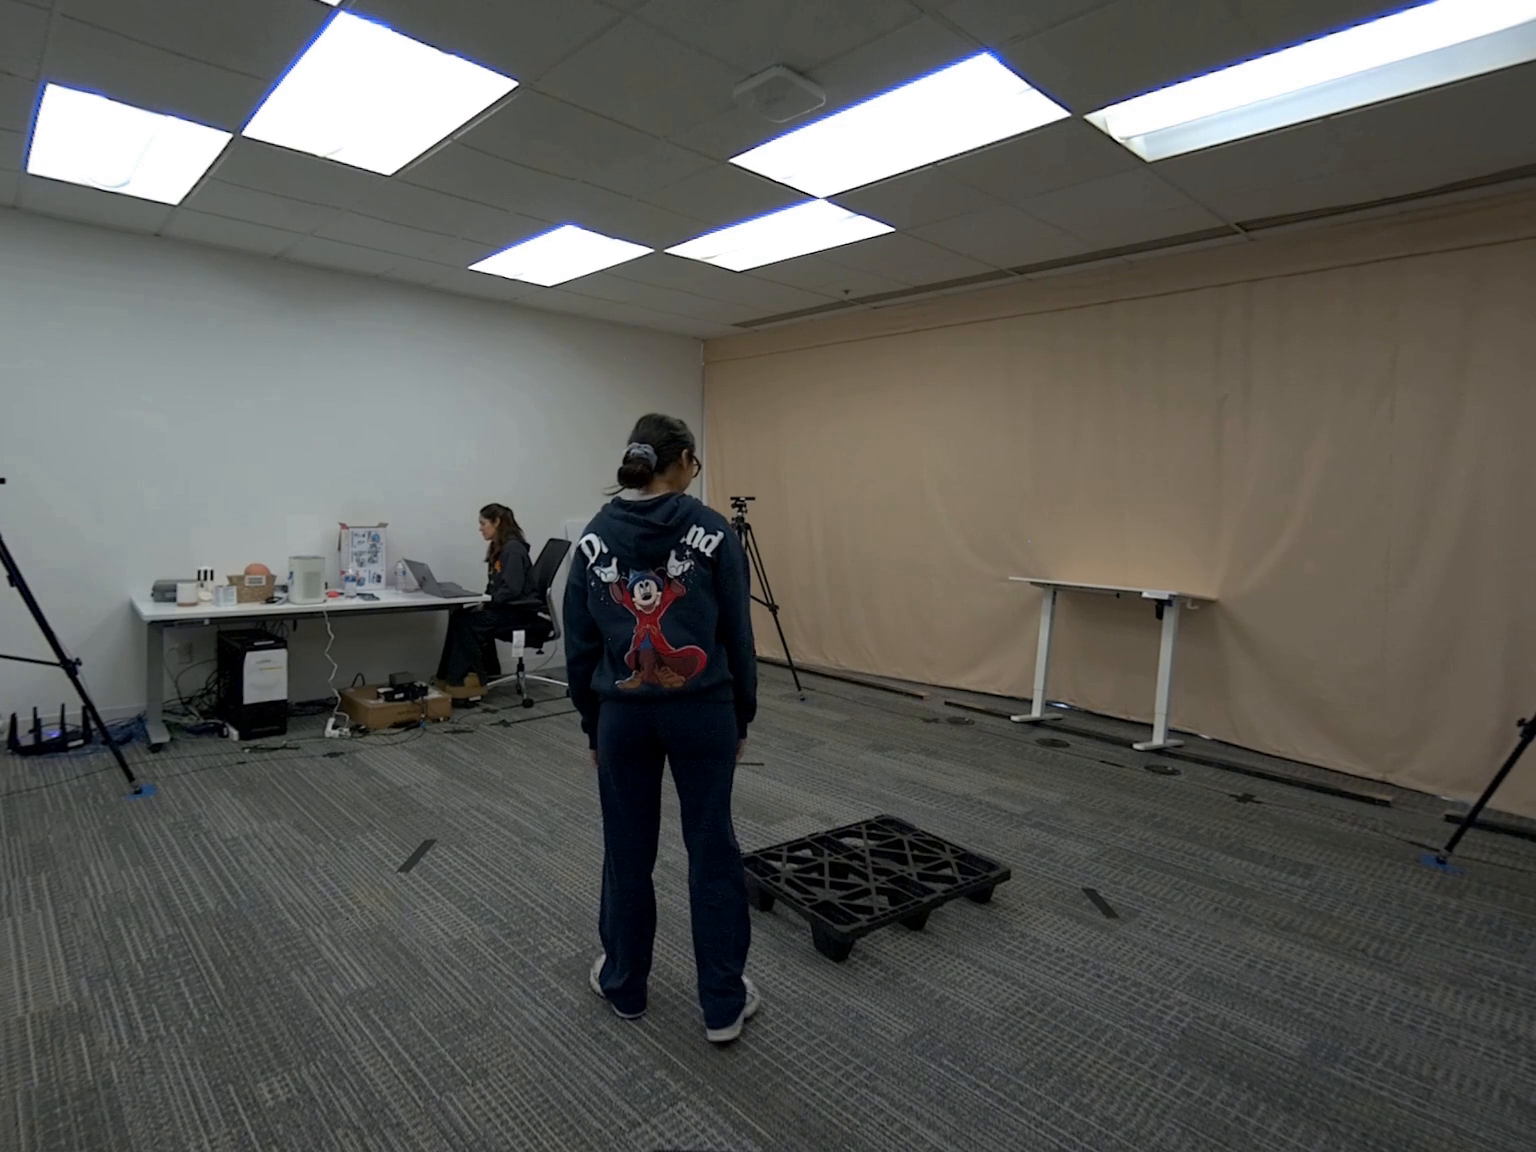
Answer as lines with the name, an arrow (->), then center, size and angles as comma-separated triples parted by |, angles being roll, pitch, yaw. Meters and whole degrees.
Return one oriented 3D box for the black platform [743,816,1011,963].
black platform -> 0.341, 1.067, 2.935 | 0.788, 0.143, 0.620 | -2, 6, -37
